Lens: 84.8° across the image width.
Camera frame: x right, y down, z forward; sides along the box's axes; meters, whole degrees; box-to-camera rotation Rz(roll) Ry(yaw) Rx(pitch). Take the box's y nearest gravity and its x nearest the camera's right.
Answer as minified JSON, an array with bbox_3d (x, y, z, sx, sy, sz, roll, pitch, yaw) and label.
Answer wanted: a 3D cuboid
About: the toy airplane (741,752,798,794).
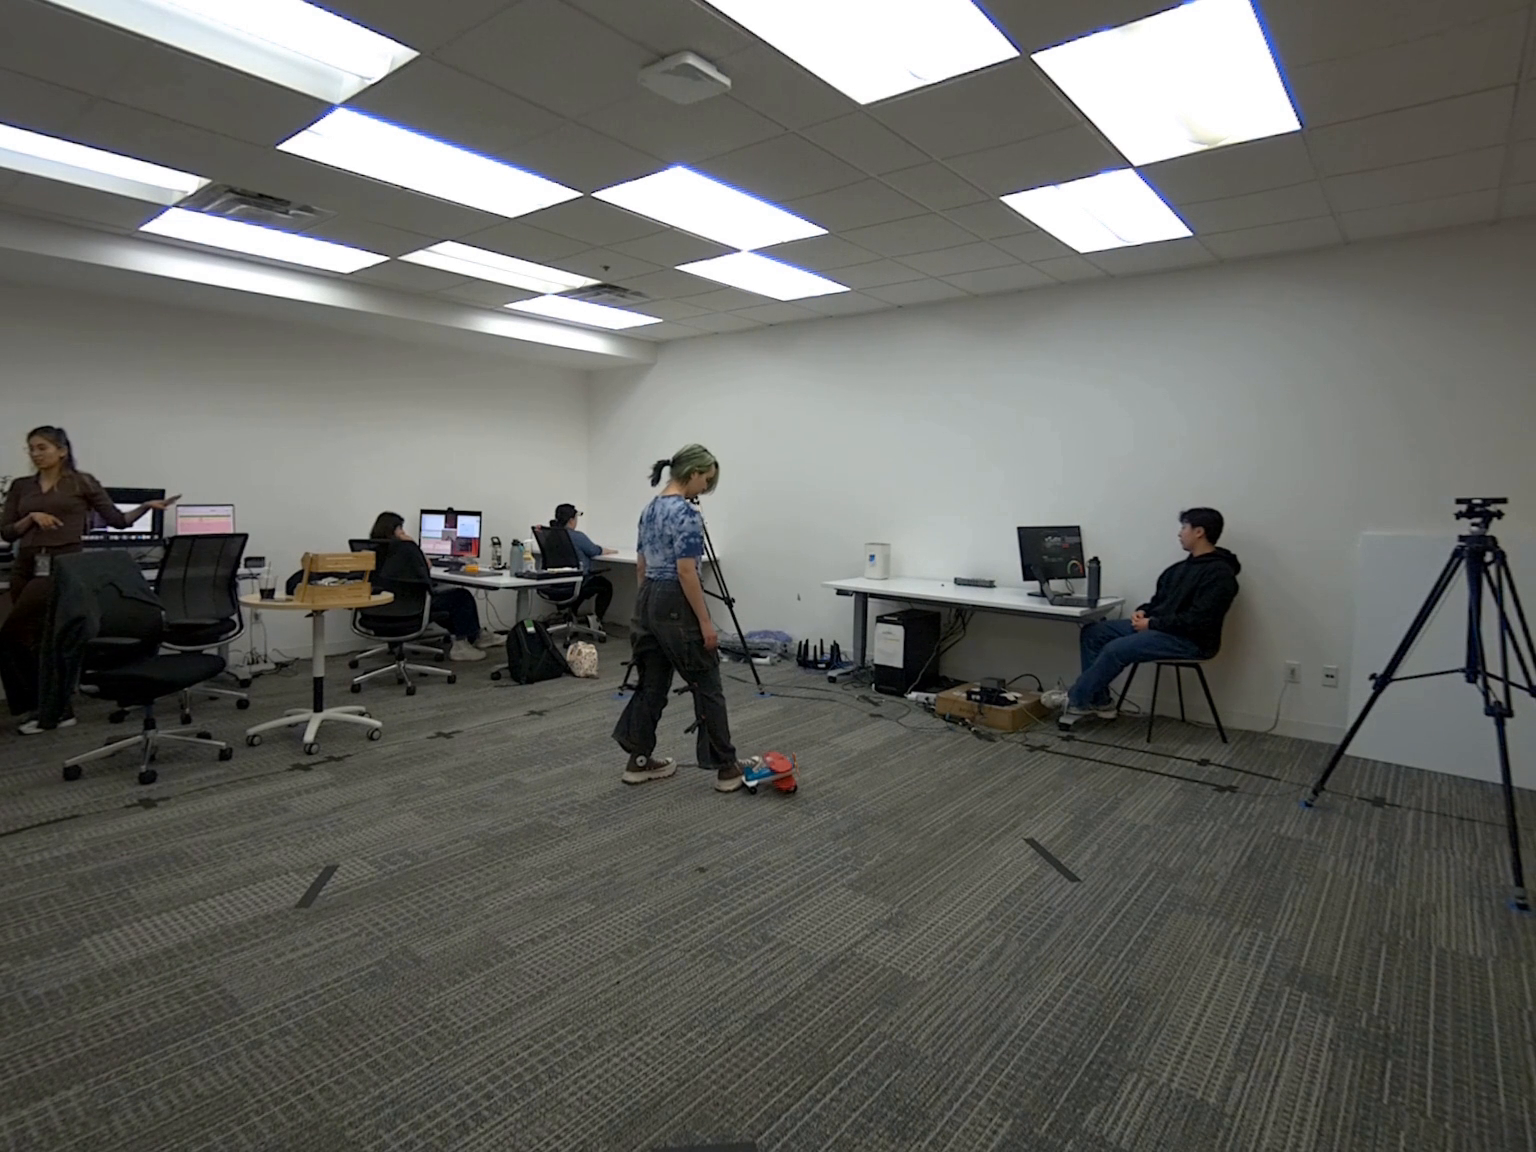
[{"bbox_3d":[0.008,0.926,3.916,0.251,0.156,0.260,-1,4,-44],"label":"toy airplane"}]
